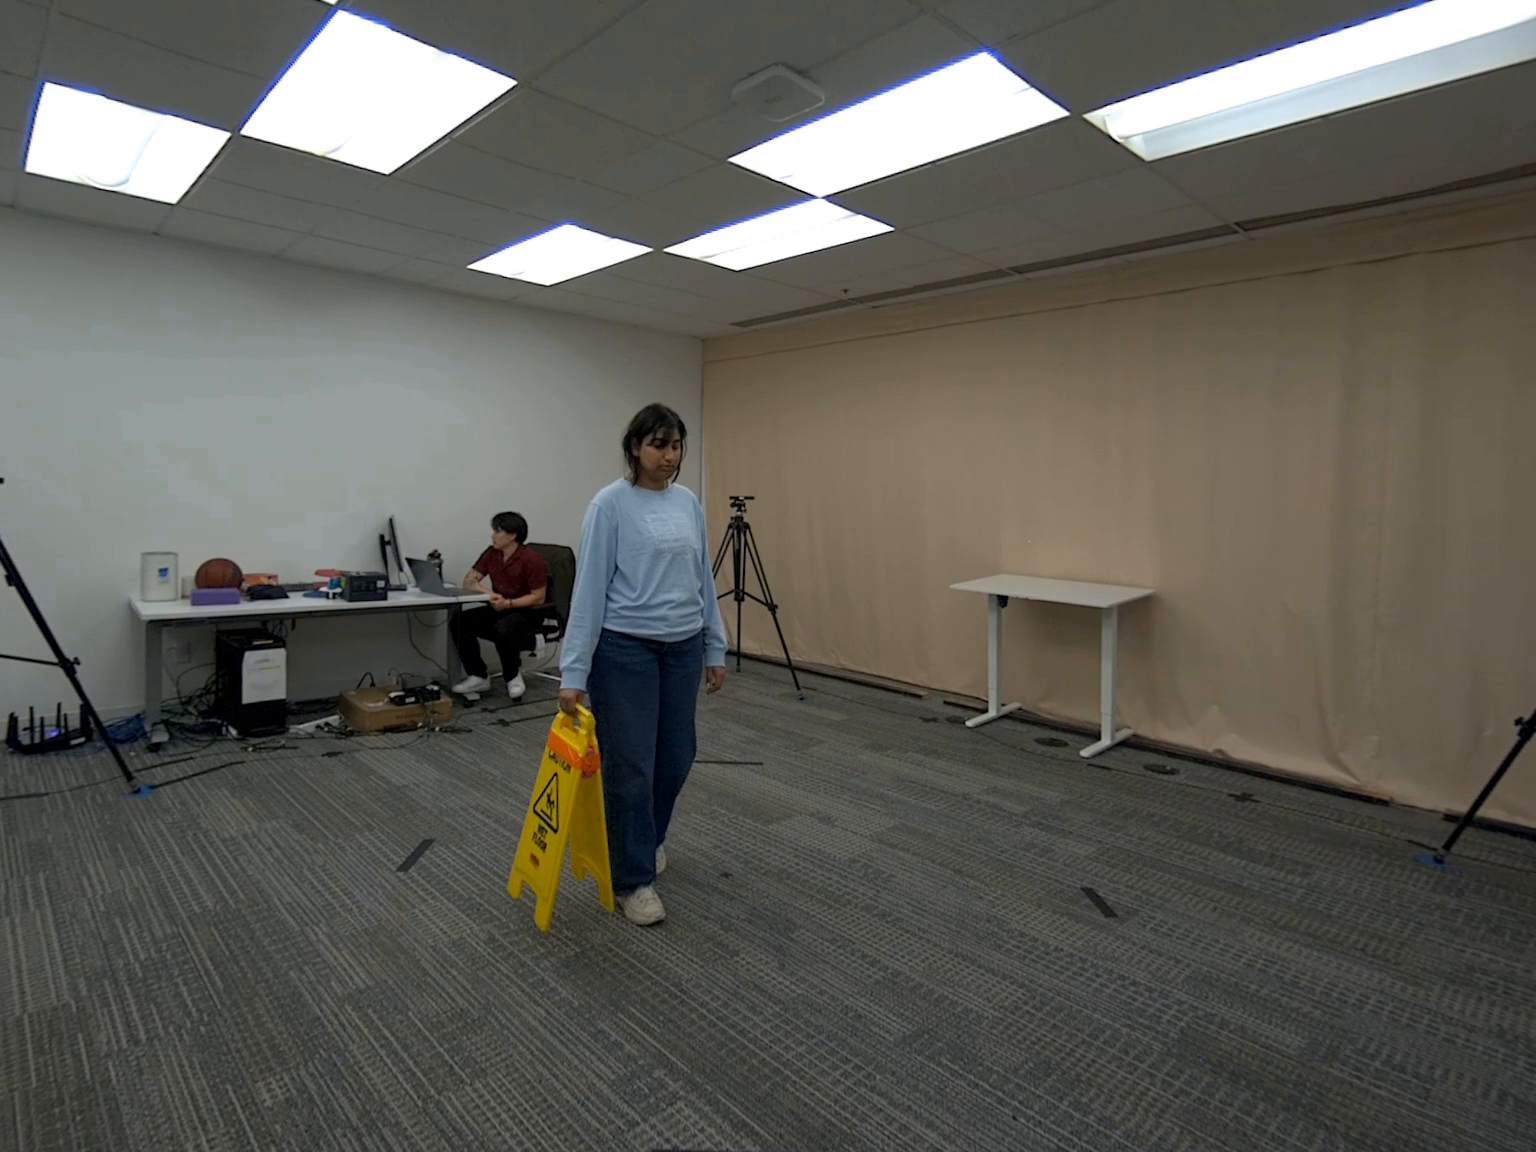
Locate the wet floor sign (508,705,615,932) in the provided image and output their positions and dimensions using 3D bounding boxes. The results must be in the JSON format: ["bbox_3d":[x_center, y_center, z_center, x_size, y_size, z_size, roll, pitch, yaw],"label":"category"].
[{"bbox_3d":[-0.638,0.723,2.654,0.283,0.643,0.290,0,8,-38],"label":"wet floor sign"}]
